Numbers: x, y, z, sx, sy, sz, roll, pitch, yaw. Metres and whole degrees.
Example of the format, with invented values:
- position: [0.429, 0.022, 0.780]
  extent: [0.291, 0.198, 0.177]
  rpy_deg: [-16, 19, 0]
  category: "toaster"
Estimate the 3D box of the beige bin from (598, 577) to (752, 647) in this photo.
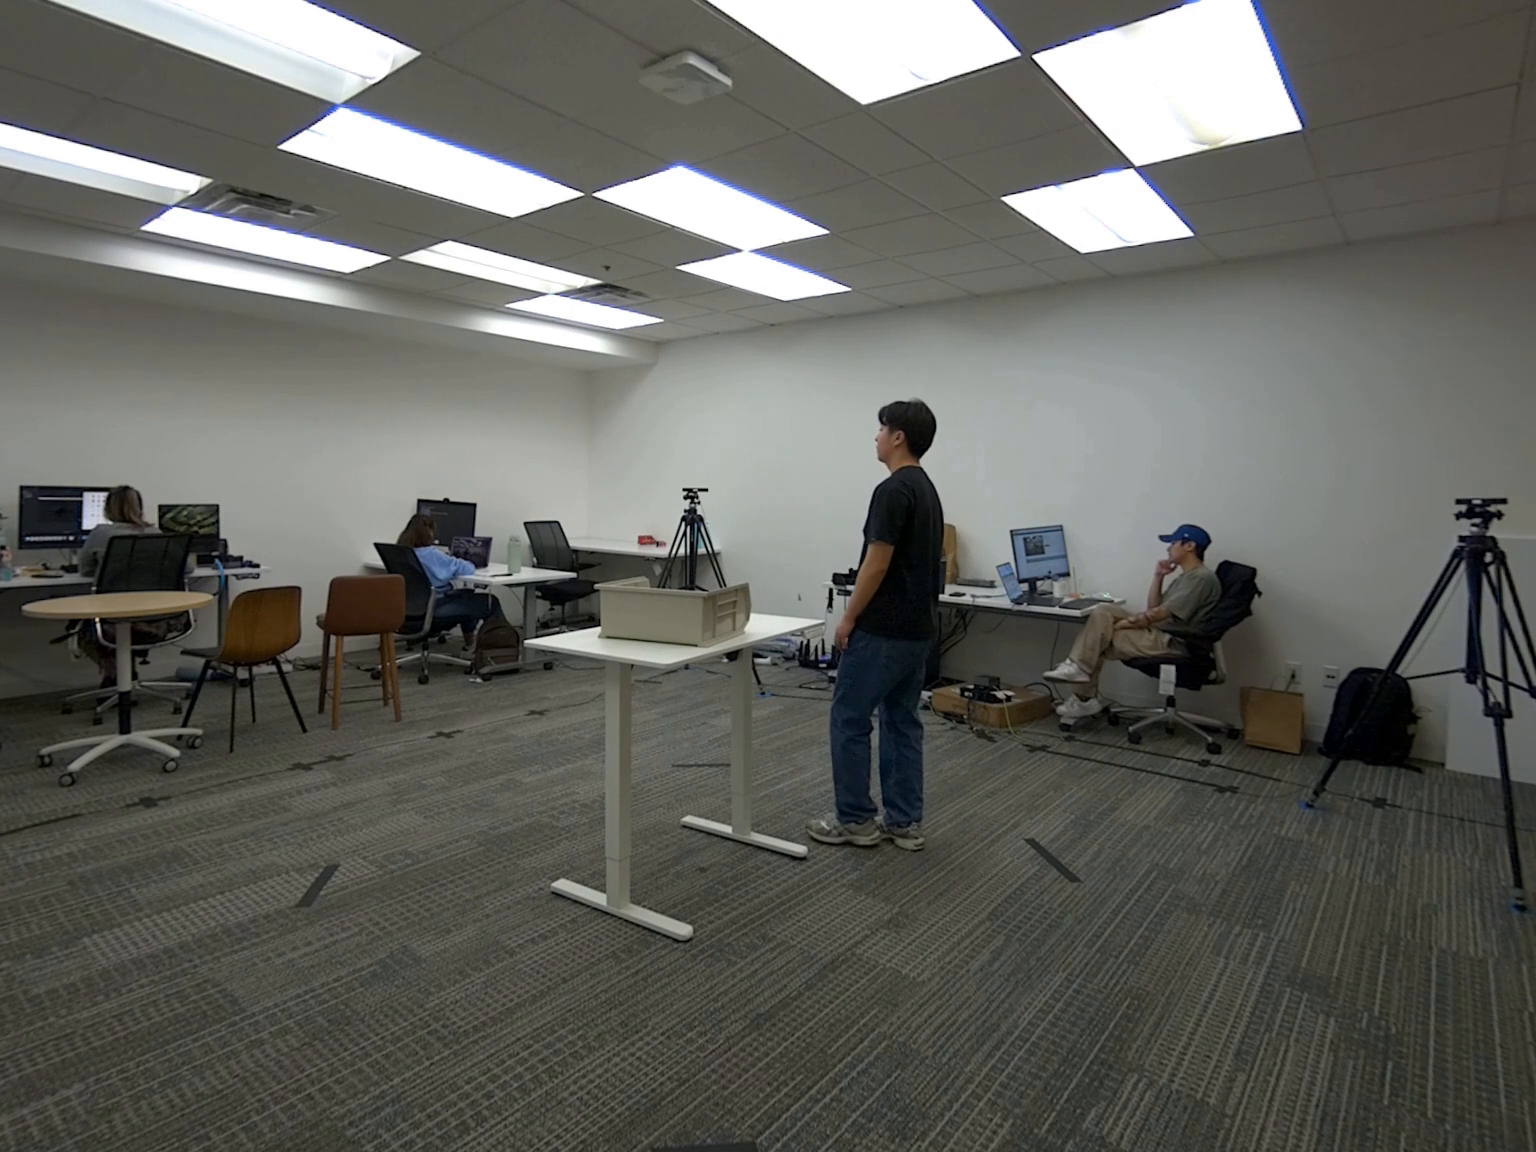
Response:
- position: [-0.332, 0.115, 2.940]
  extent: [0.433, 0.188, 0.370]
  rpy_deg: [3, 7, 23]
  category: "beige bin"
